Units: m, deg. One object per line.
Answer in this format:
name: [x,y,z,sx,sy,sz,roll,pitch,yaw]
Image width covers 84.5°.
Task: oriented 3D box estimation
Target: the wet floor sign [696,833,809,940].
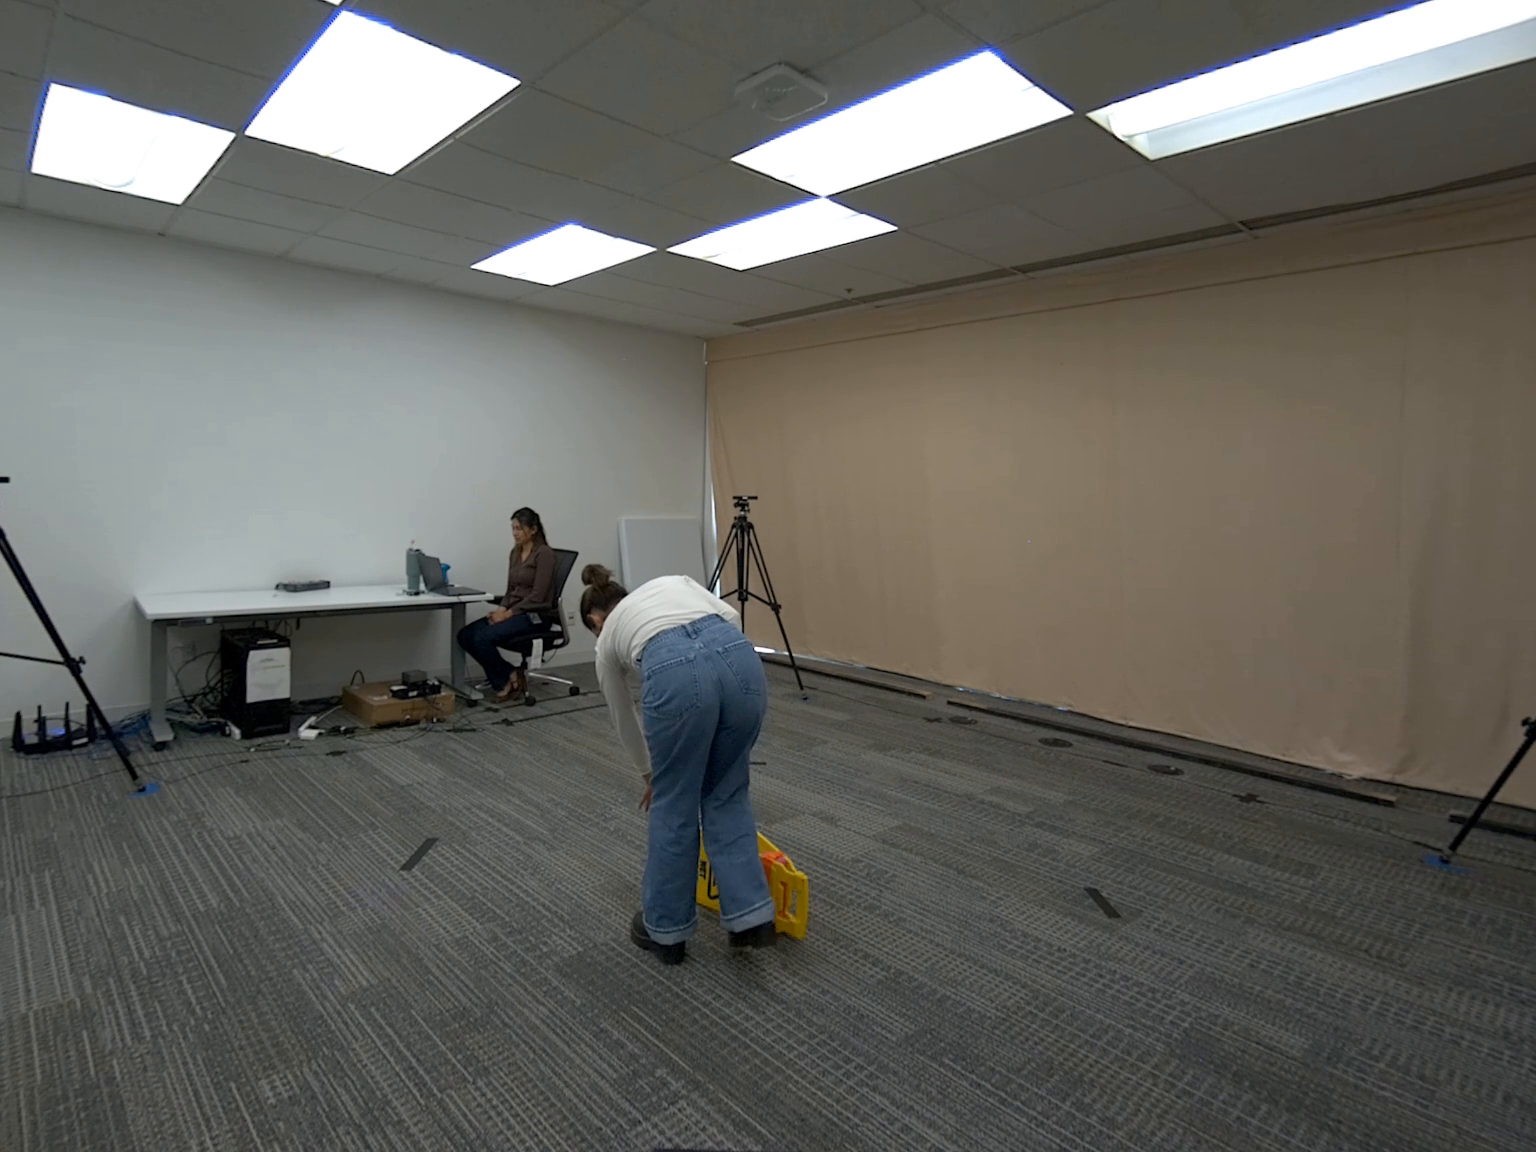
wet floor sign: [-0.106,1.000,2.854,0.283,0.281,0.663,-3,8,-42]
